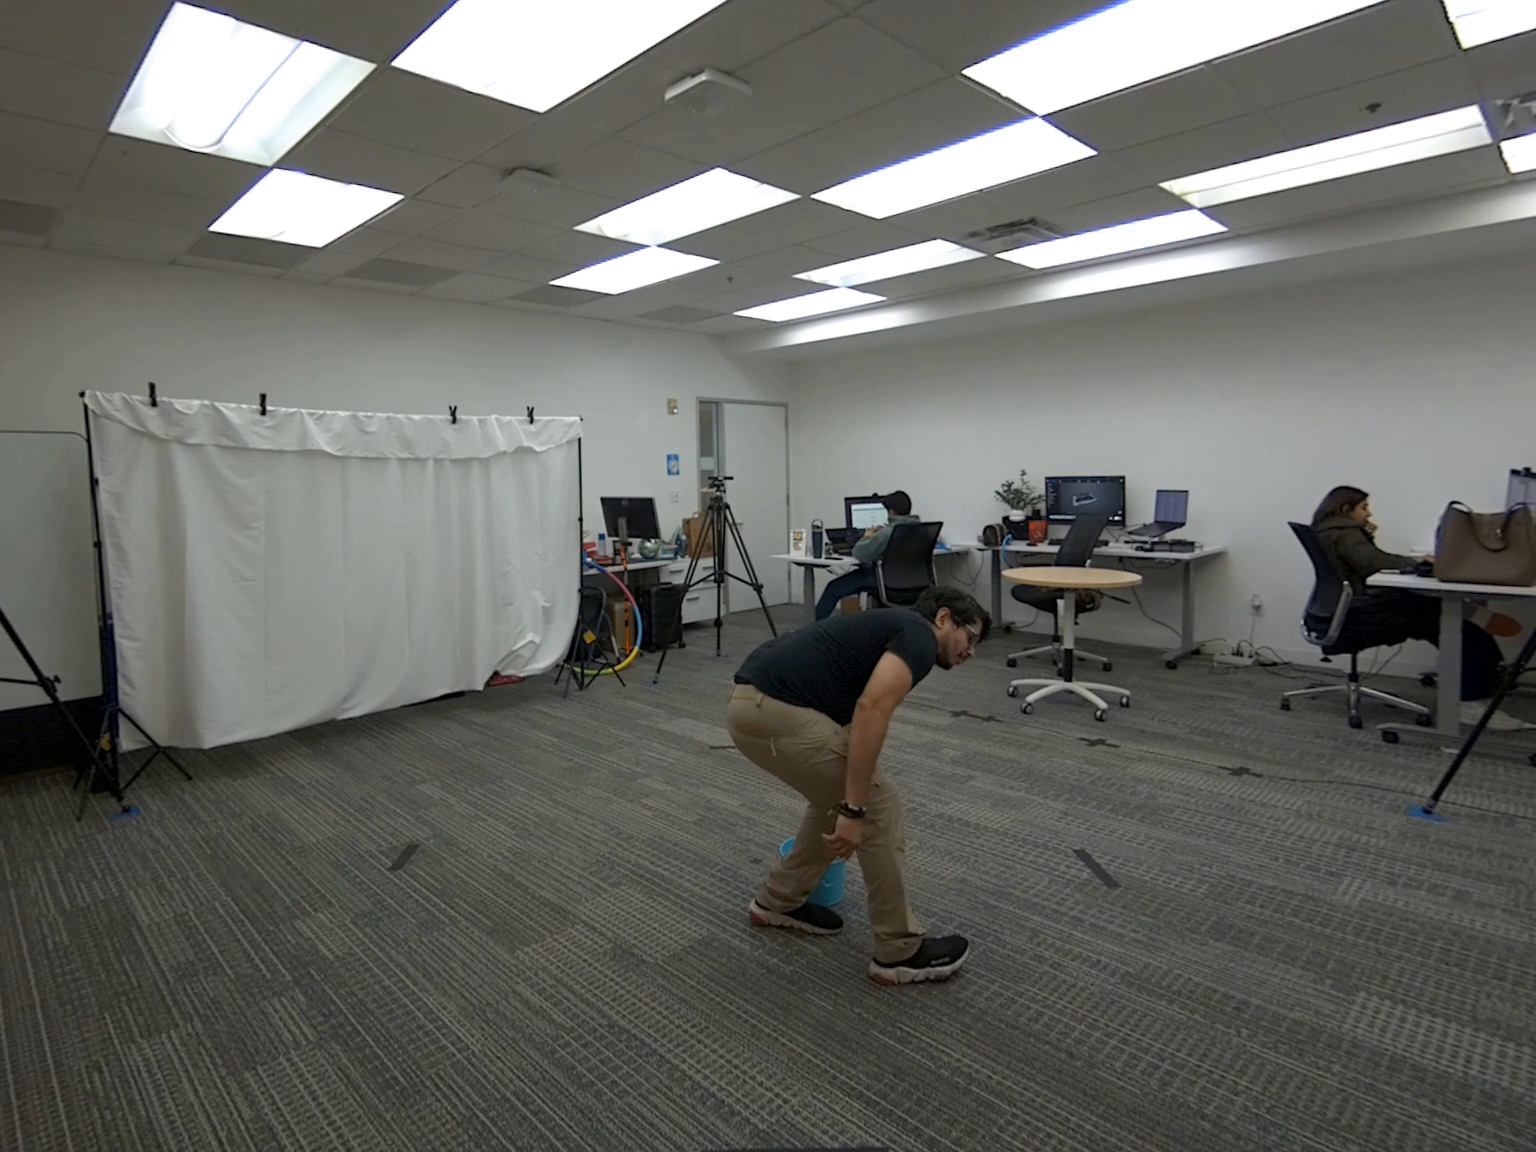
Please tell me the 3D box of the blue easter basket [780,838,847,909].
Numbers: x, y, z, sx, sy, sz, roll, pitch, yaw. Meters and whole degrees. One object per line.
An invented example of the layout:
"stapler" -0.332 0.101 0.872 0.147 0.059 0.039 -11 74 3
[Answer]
"blue easter basket" 0.175 0.989 2.848 0.243 0.155 0.245 -1 6 -2
